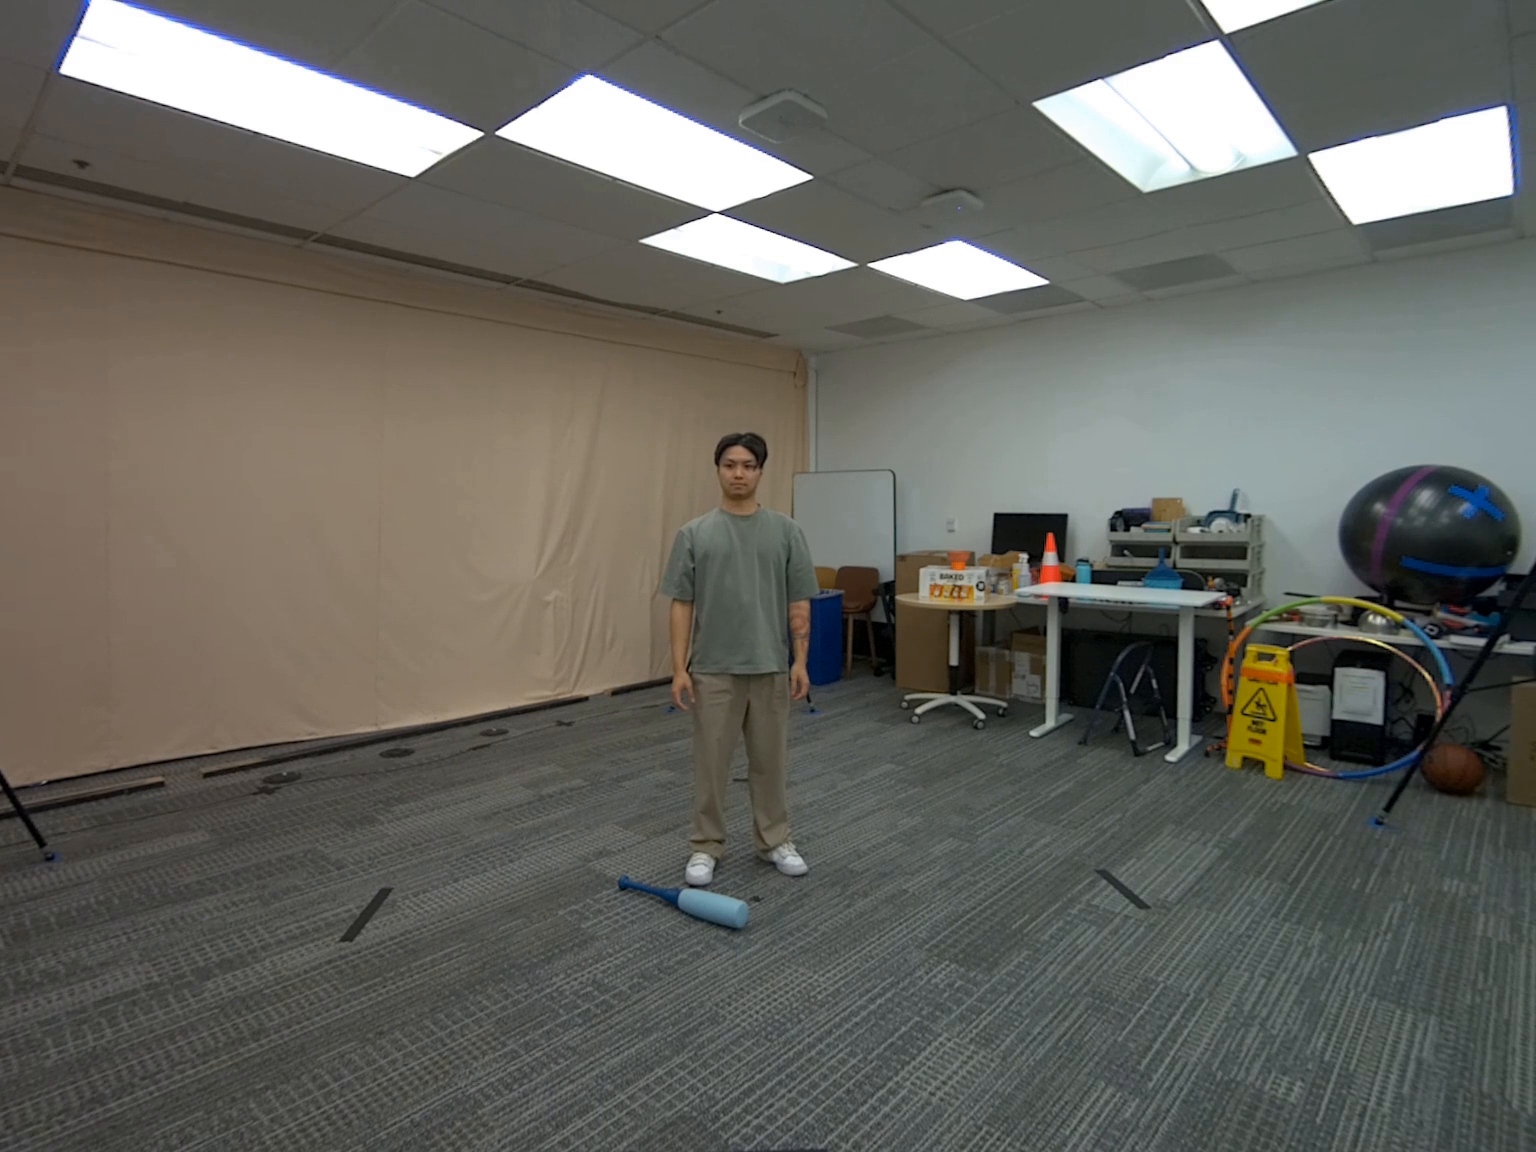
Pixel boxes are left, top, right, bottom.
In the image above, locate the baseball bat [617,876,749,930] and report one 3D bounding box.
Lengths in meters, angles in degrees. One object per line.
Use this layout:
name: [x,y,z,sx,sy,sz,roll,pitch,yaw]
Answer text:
baseball bat: [-0.306,1.120,2.910,0.559,0.089,0.086,-2,2,35]
